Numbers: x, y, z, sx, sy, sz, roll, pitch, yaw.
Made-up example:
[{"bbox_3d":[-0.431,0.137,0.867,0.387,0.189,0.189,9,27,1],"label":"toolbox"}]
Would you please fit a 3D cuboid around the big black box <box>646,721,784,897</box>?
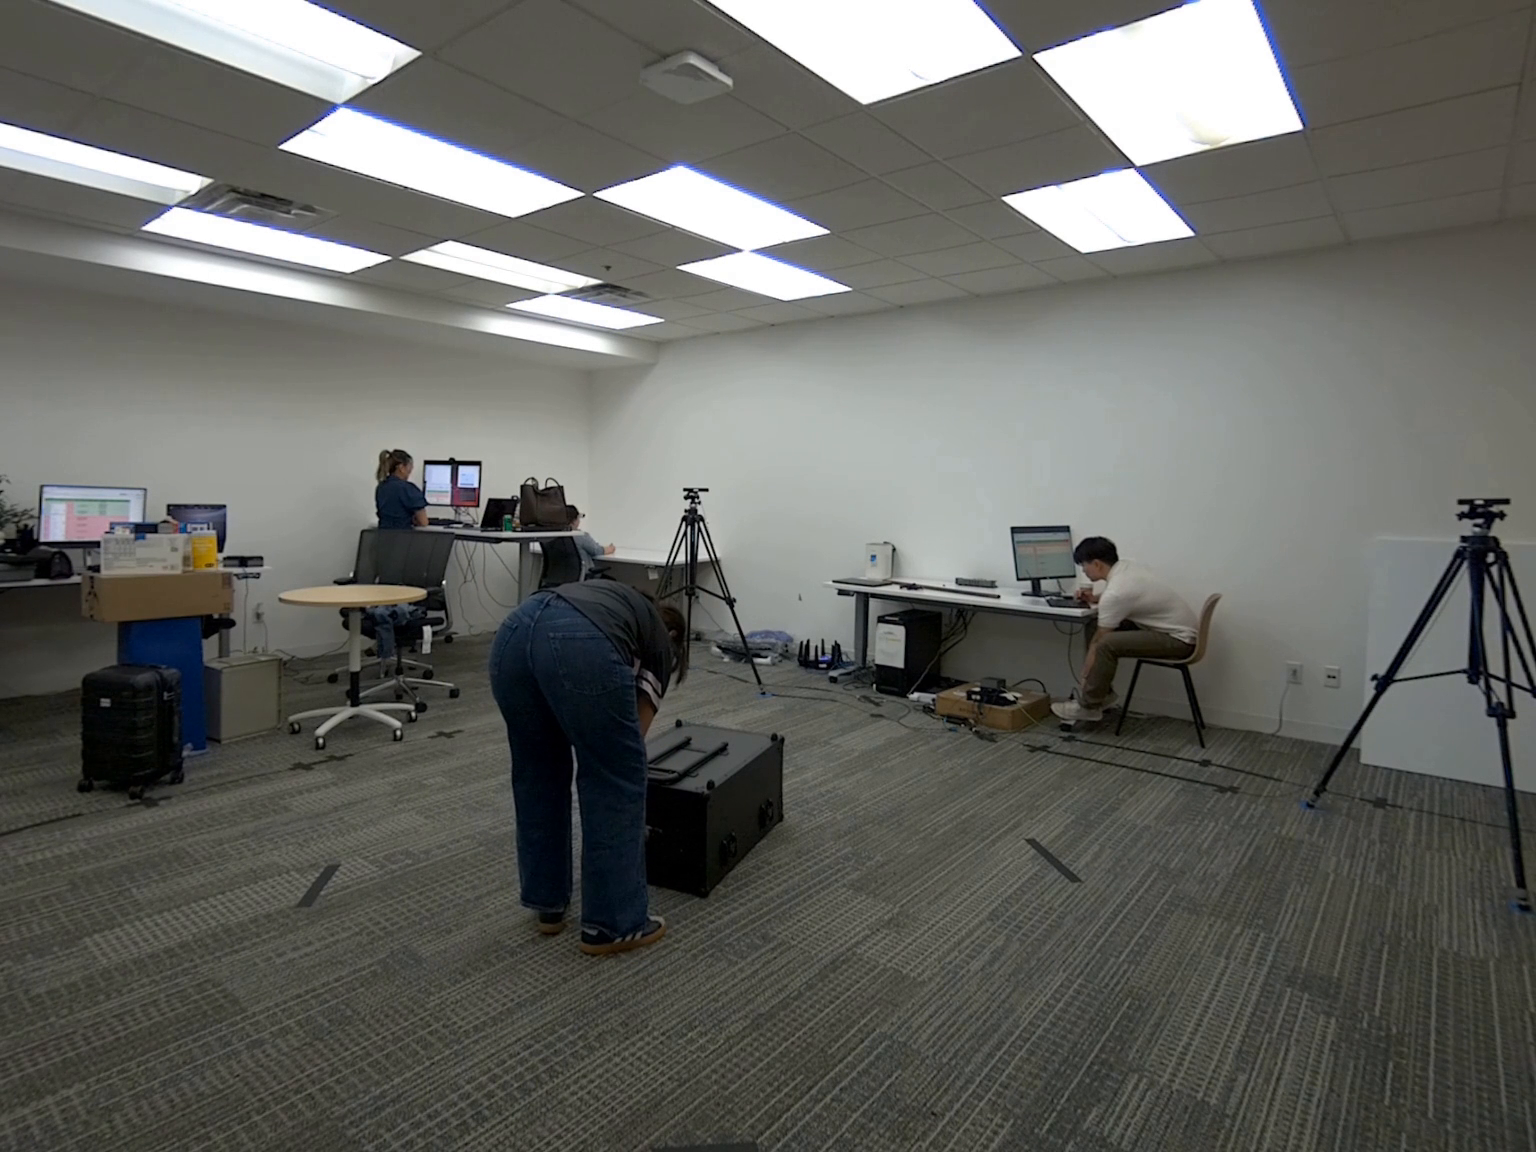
[{"bbox_3d":[-0.292,0.846,3.361,0.533,0.395,0.844,2,4,21],"label":"big black box"}]
